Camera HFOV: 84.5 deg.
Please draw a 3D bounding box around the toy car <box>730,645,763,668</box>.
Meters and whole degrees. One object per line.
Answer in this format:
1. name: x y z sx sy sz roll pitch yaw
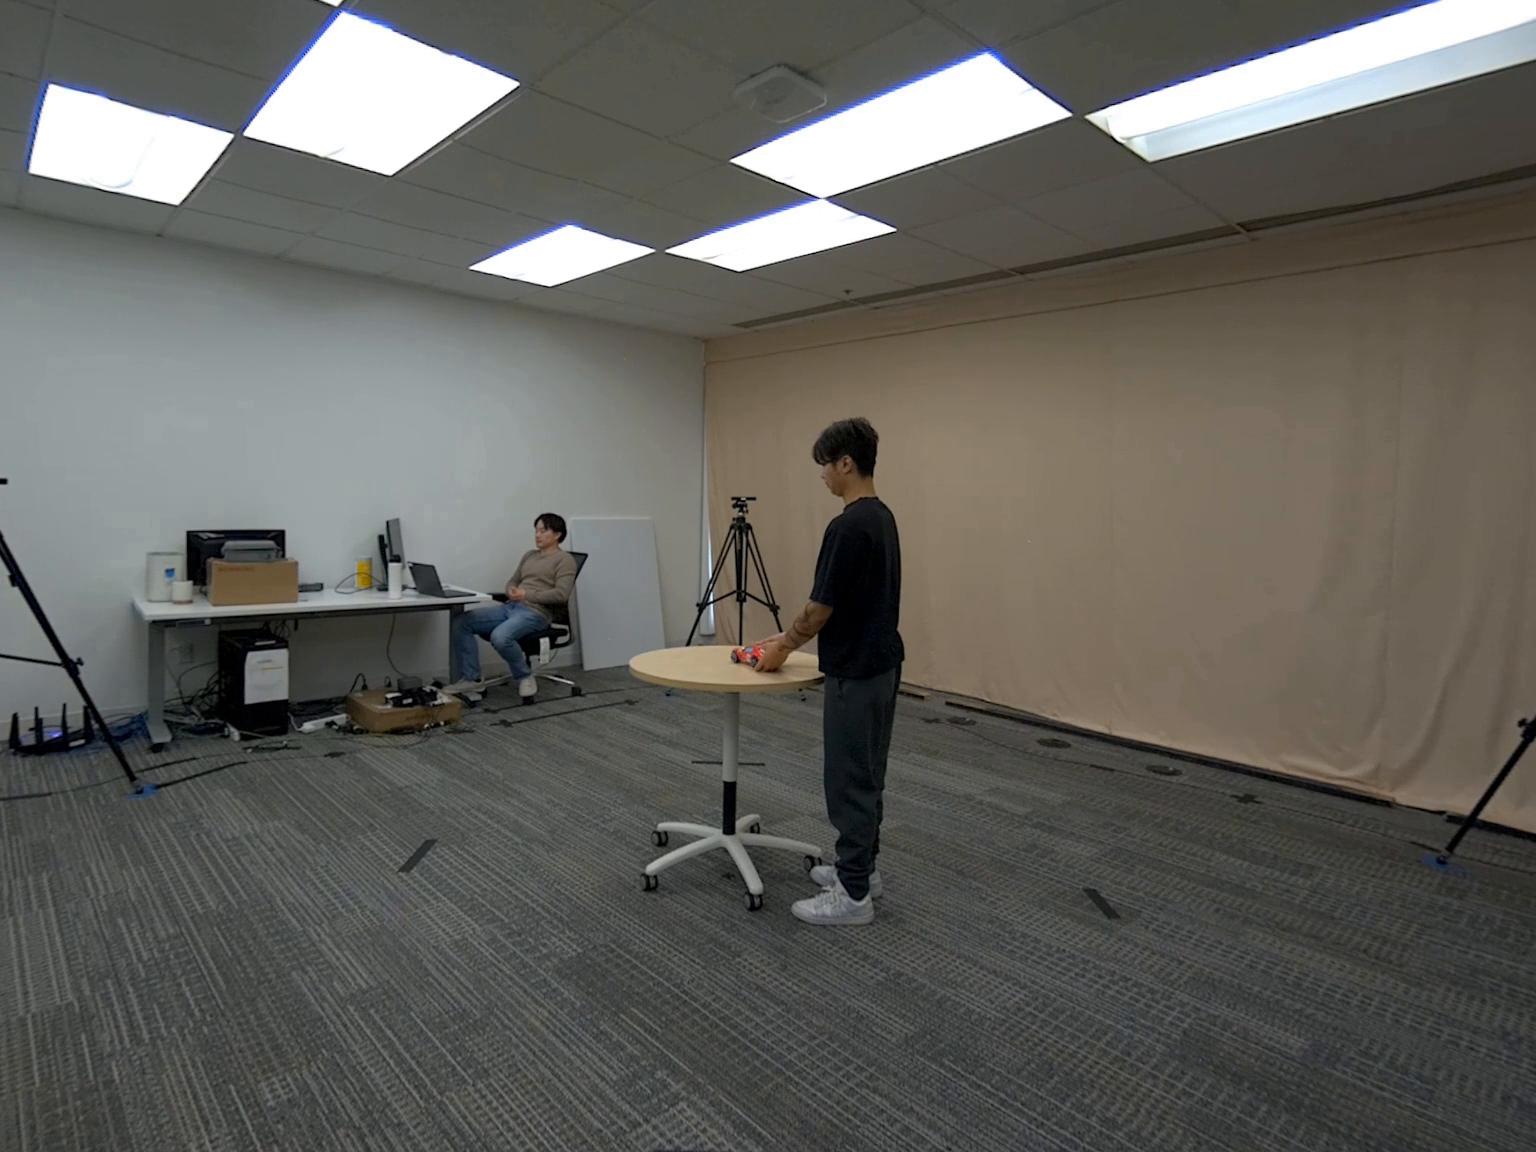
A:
1. toy car: -0.034 0.288 3.060 0.128 0.083 0.258 -5 -6 -32
